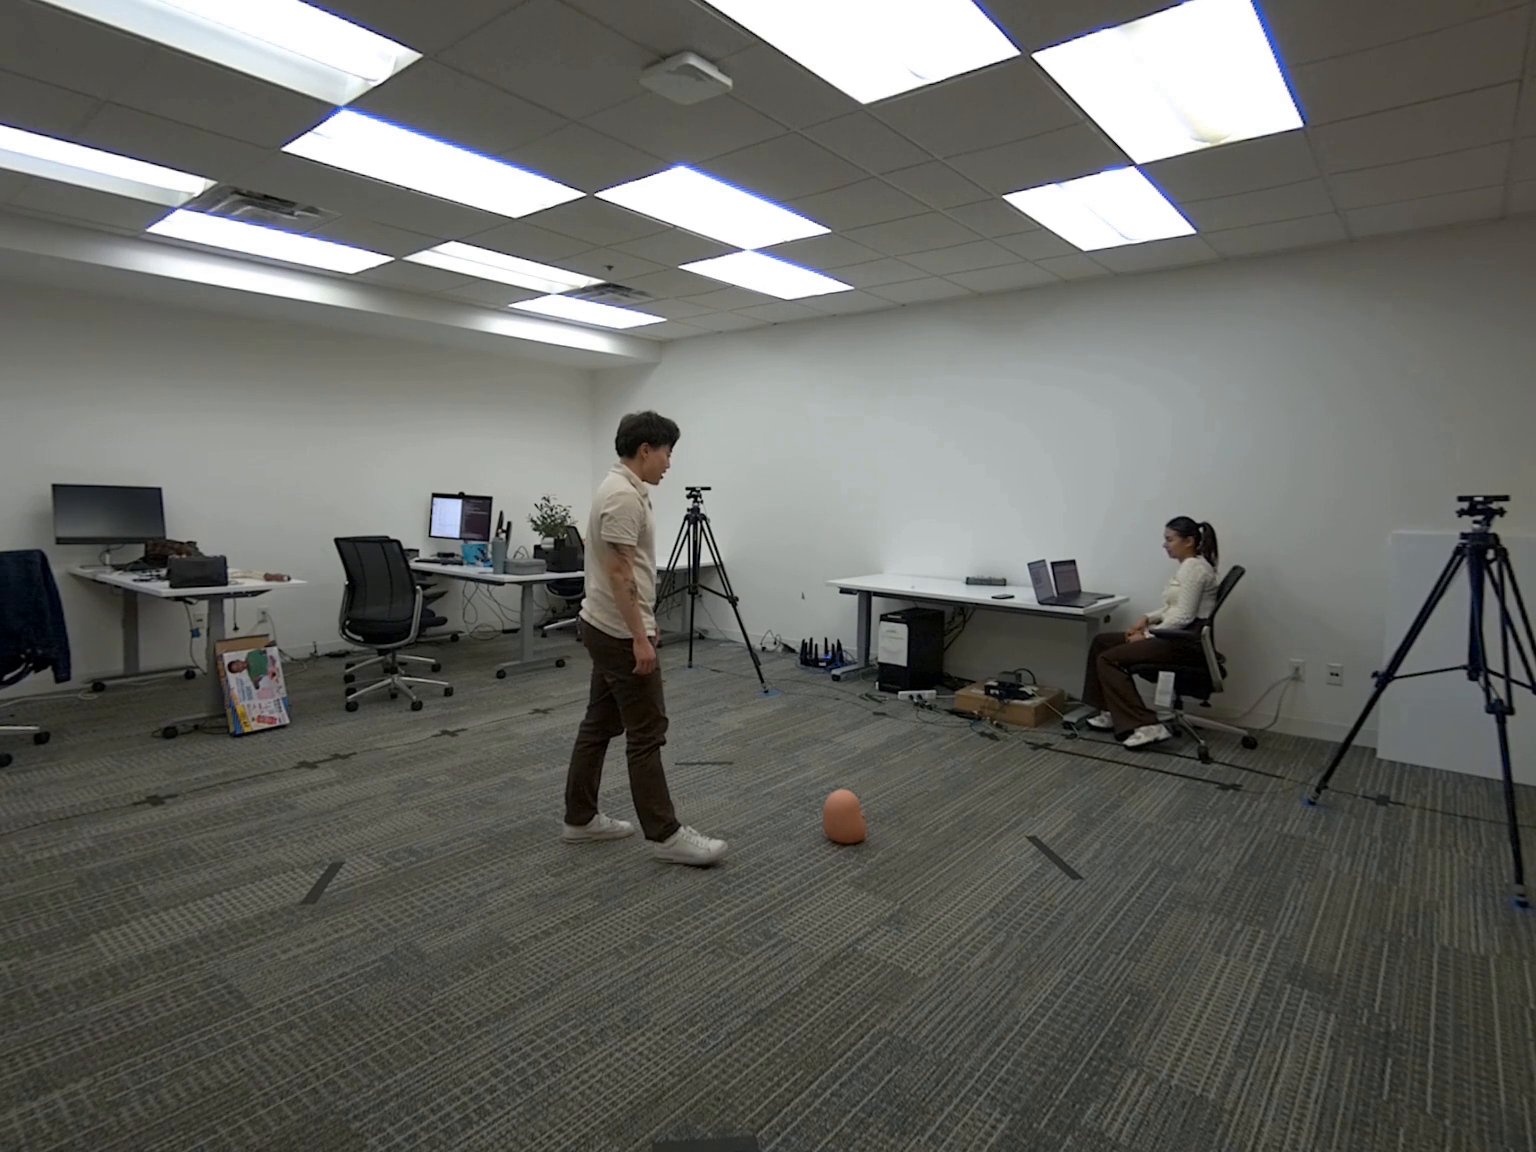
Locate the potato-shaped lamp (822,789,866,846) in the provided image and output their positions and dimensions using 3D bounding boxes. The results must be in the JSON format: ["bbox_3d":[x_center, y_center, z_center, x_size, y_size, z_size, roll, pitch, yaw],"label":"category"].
[{"bbox_3d":[0.297,0.950,3.391,0.167,0.197,0.170,-2,6,-31],"label":"potato-shaped lamp"}]
